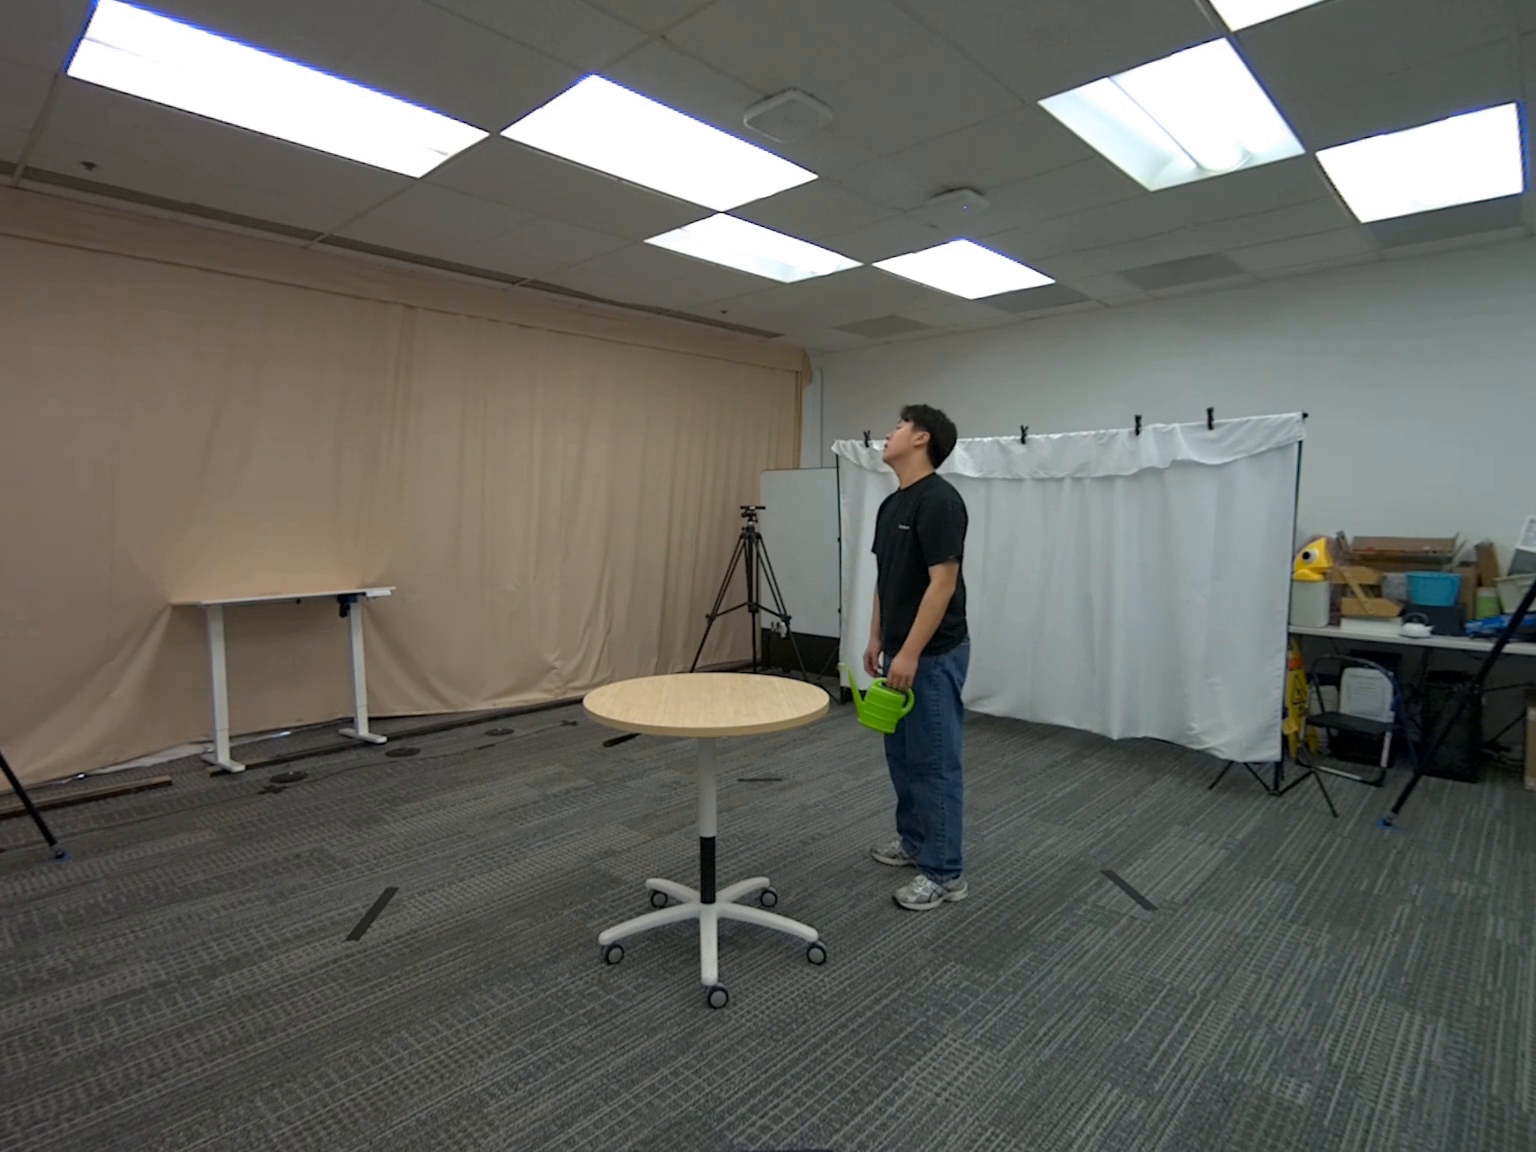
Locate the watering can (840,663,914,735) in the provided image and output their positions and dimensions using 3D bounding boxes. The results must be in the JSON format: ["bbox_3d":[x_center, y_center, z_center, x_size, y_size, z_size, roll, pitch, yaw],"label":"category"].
[{"bbox_3d":[0.369,0.435,2.857,0.283,0.176,0.096,16,3,13],"label":"watering can"}]
